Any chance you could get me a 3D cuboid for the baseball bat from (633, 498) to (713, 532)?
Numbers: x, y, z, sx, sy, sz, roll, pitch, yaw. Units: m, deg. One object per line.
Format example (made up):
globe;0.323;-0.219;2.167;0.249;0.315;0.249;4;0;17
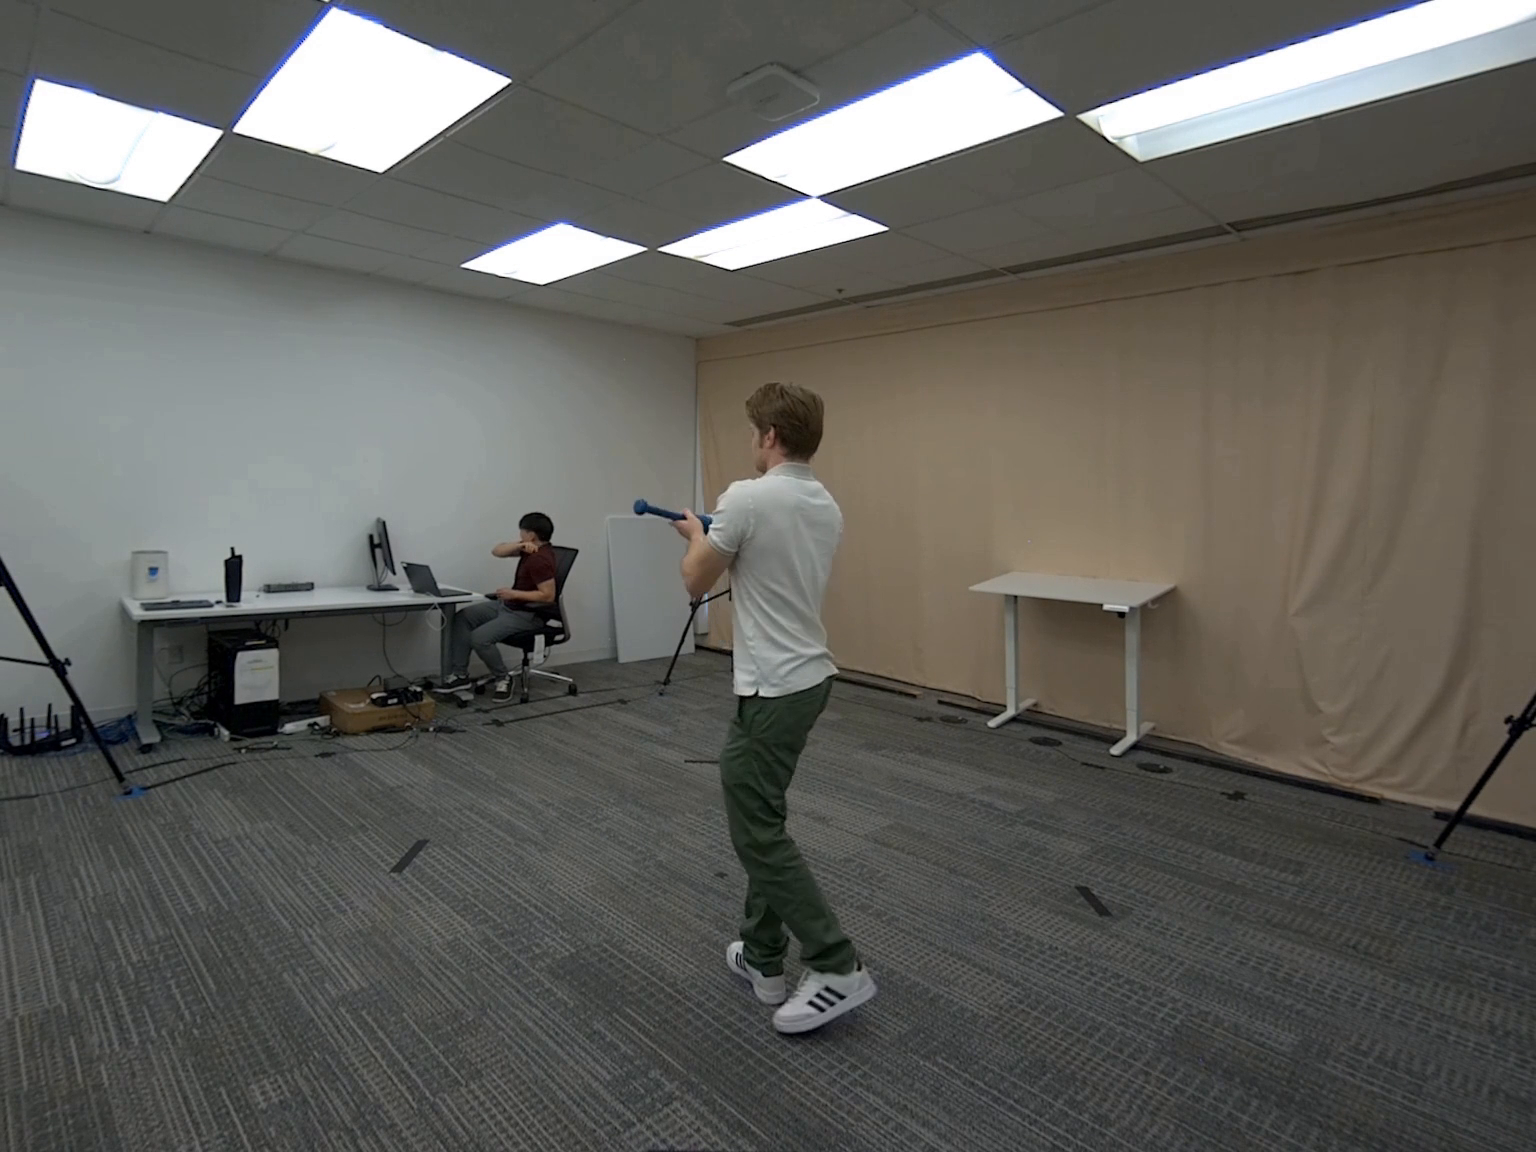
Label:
baseball bat;-0.213;-0.169;2.677;0.091;0.089;0.527;5;-6;42
